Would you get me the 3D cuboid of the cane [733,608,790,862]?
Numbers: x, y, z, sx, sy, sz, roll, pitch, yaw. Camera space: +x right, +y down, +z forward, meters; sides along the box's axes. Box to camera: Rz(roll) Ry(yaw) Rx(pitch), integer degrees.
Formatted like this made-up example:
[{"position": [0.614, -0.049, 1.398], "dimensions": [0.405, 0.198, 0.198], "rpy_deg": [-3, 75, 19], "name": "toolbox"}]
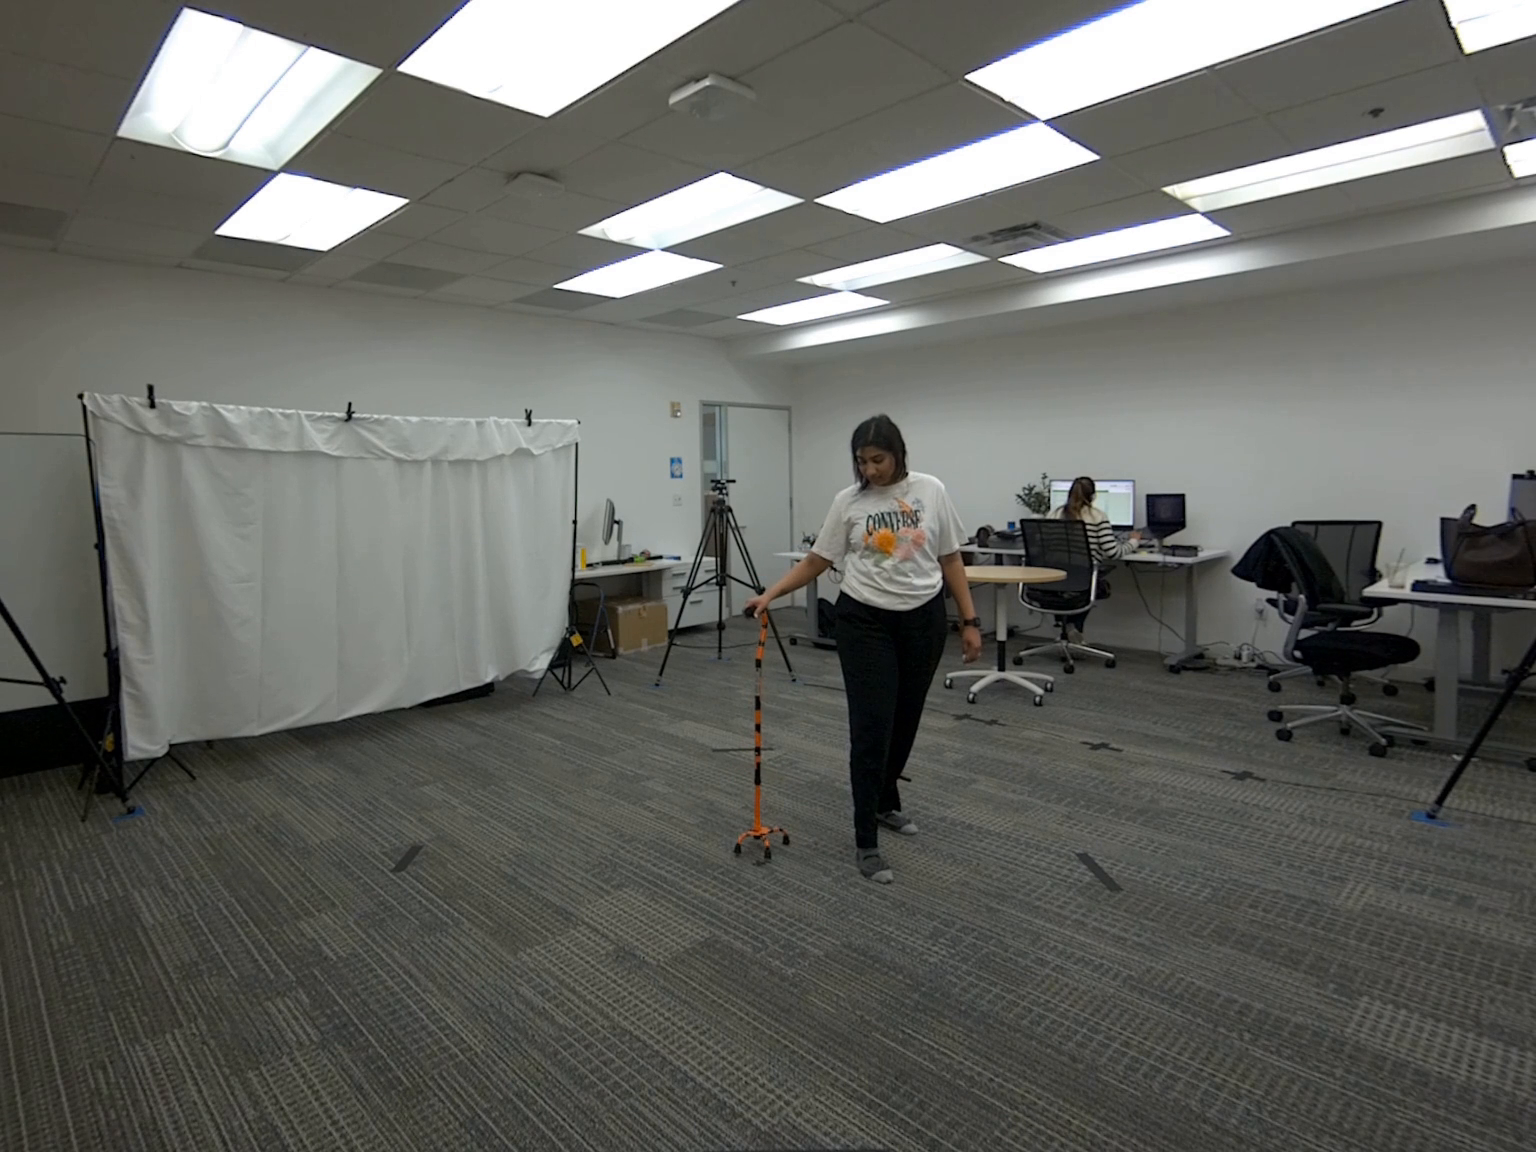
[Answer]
[{"position": [-0.022, 0.573, 3.232], "dimensions": [0.155, 0.908, 0.202], "rpy_deg": [0, 0, 22], "name": "cane"}]
